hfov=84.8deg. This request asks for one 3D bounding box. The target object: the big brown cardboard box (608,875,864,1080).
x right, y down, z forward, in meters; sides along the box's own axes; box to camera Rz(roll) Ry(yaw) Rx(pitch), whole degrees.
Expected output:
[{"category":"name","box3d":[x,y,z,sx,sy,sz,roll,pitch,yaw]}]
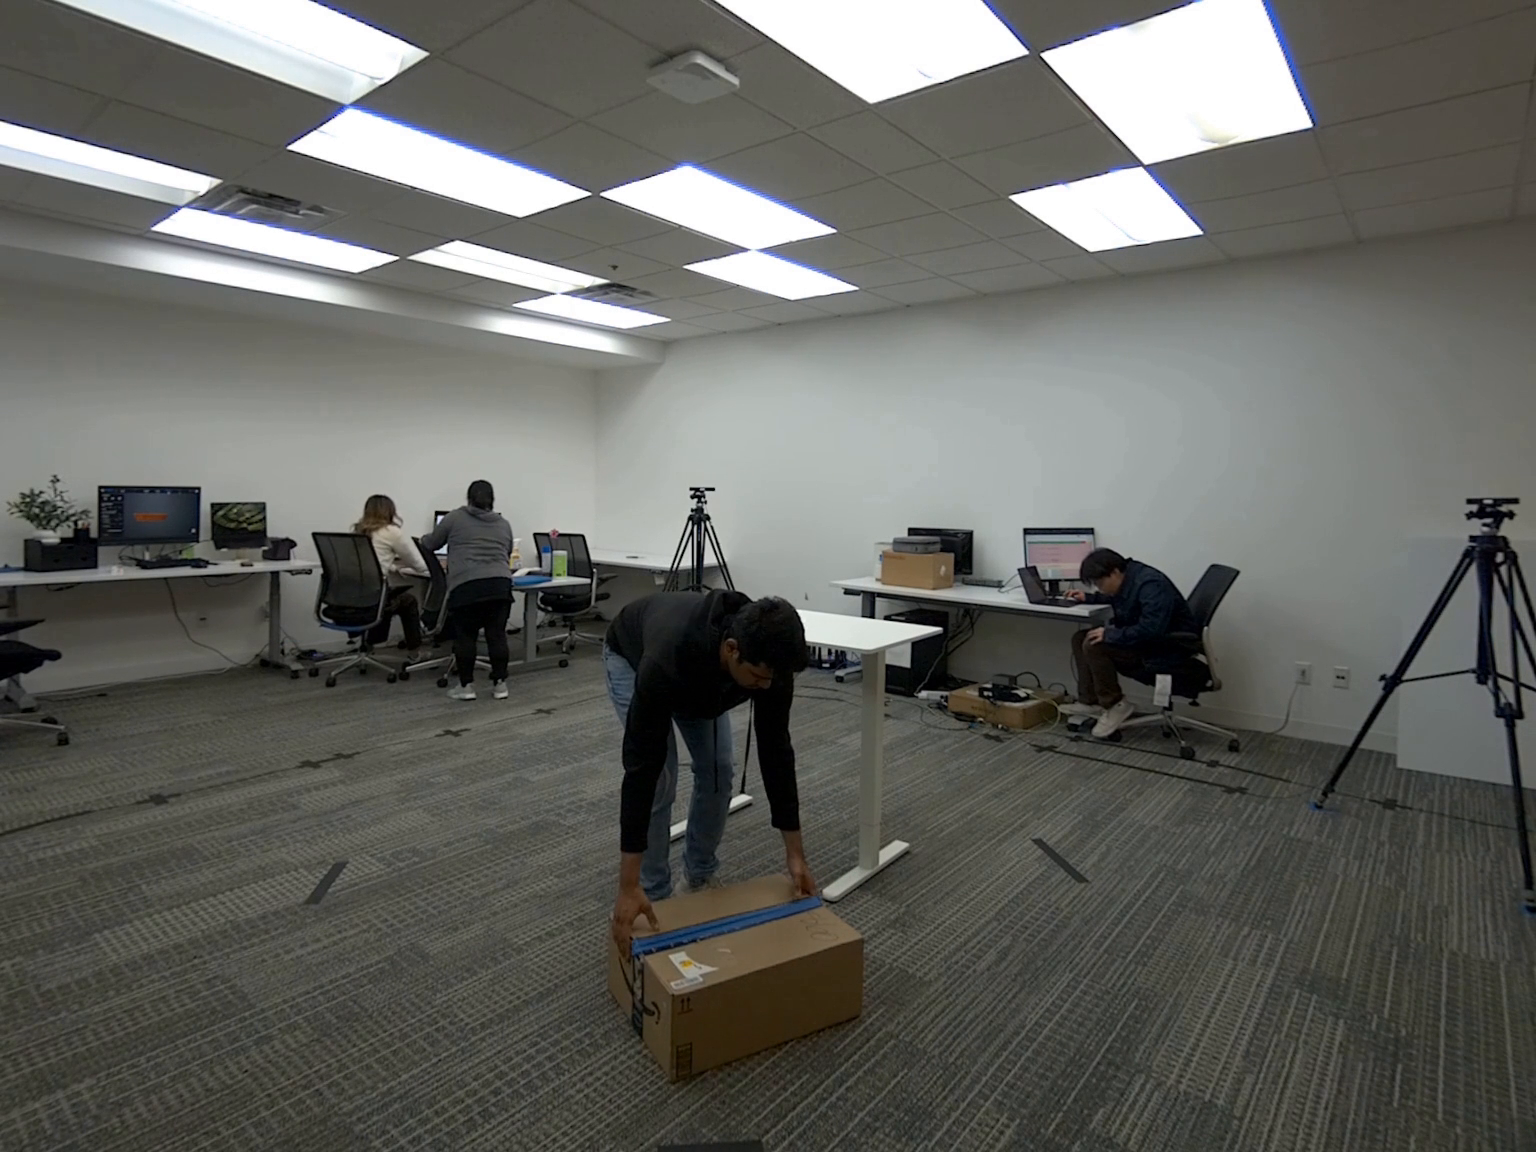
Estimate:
[{"category":"big brown cardboard box","box3d":[-0.101,1.032,2.289,0.573,0.232,0.431,-1,7,-31]}]
